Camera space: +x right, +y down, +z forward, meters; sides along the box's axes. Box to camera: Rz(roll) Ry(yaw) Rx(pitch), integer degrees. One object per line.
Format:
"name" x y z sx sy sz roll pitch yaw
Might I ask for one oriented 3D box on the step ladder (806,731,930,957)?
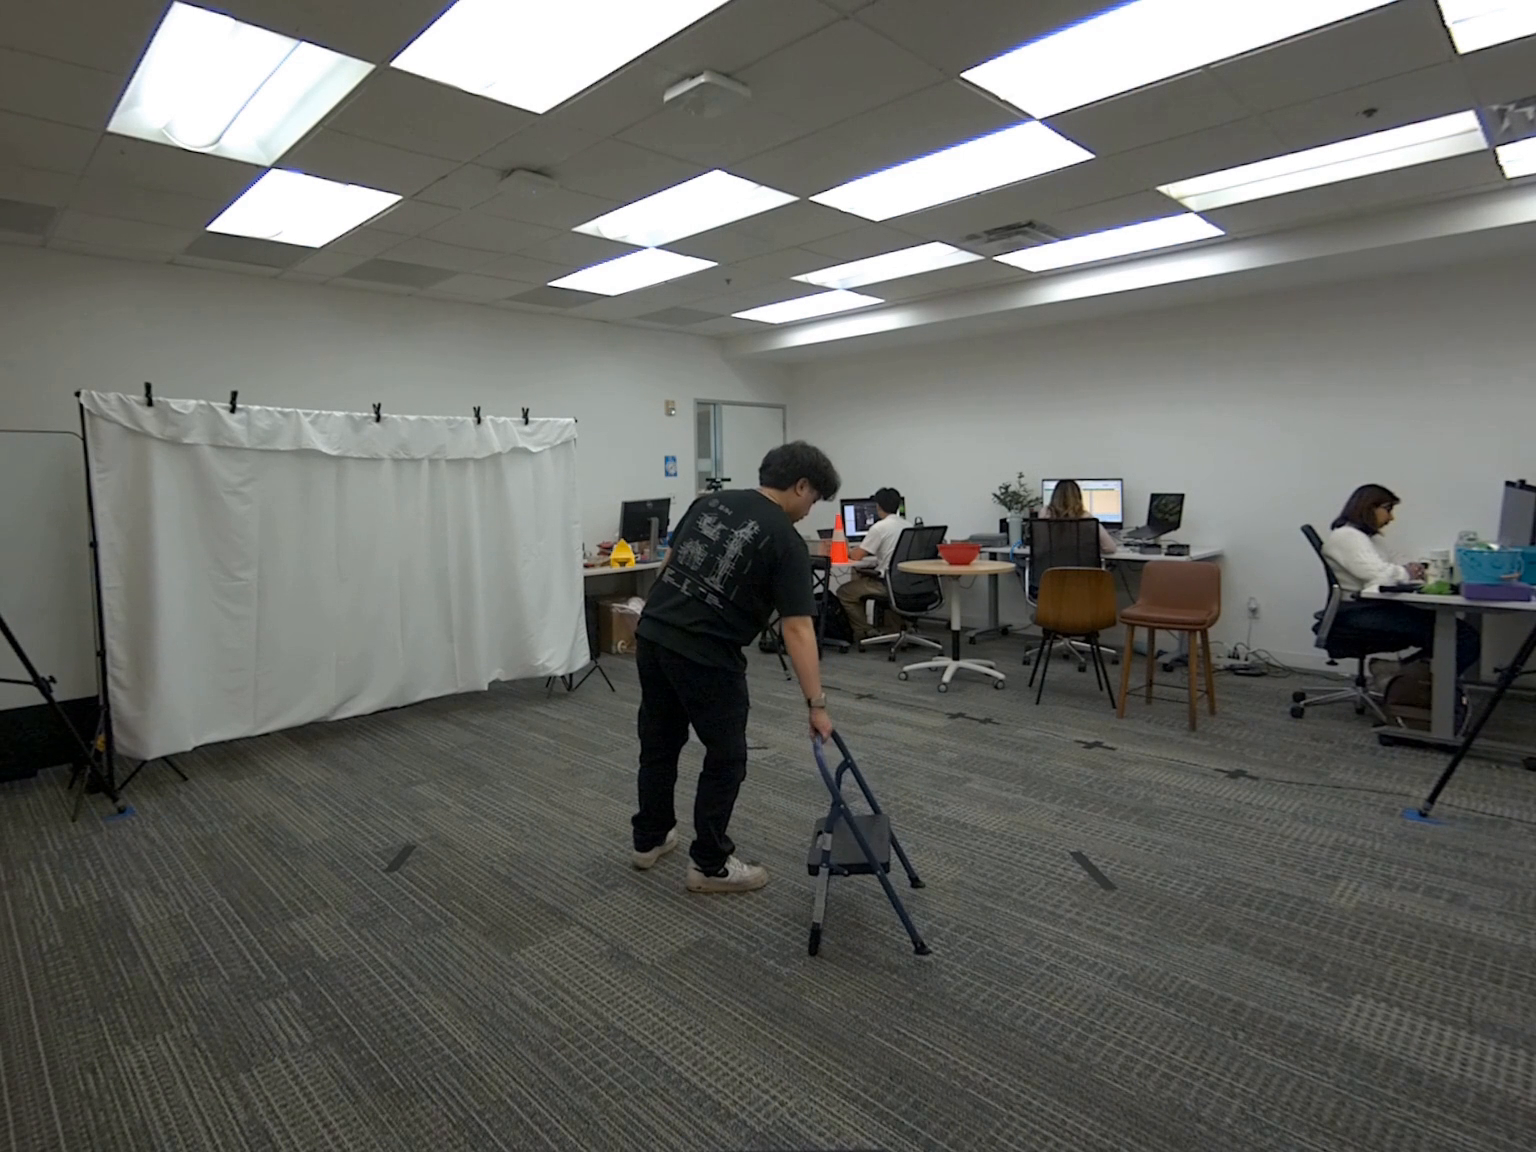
"step ladder" 0.280 0.770 2.647 0.352 0.604 0.428 -7 3 10
